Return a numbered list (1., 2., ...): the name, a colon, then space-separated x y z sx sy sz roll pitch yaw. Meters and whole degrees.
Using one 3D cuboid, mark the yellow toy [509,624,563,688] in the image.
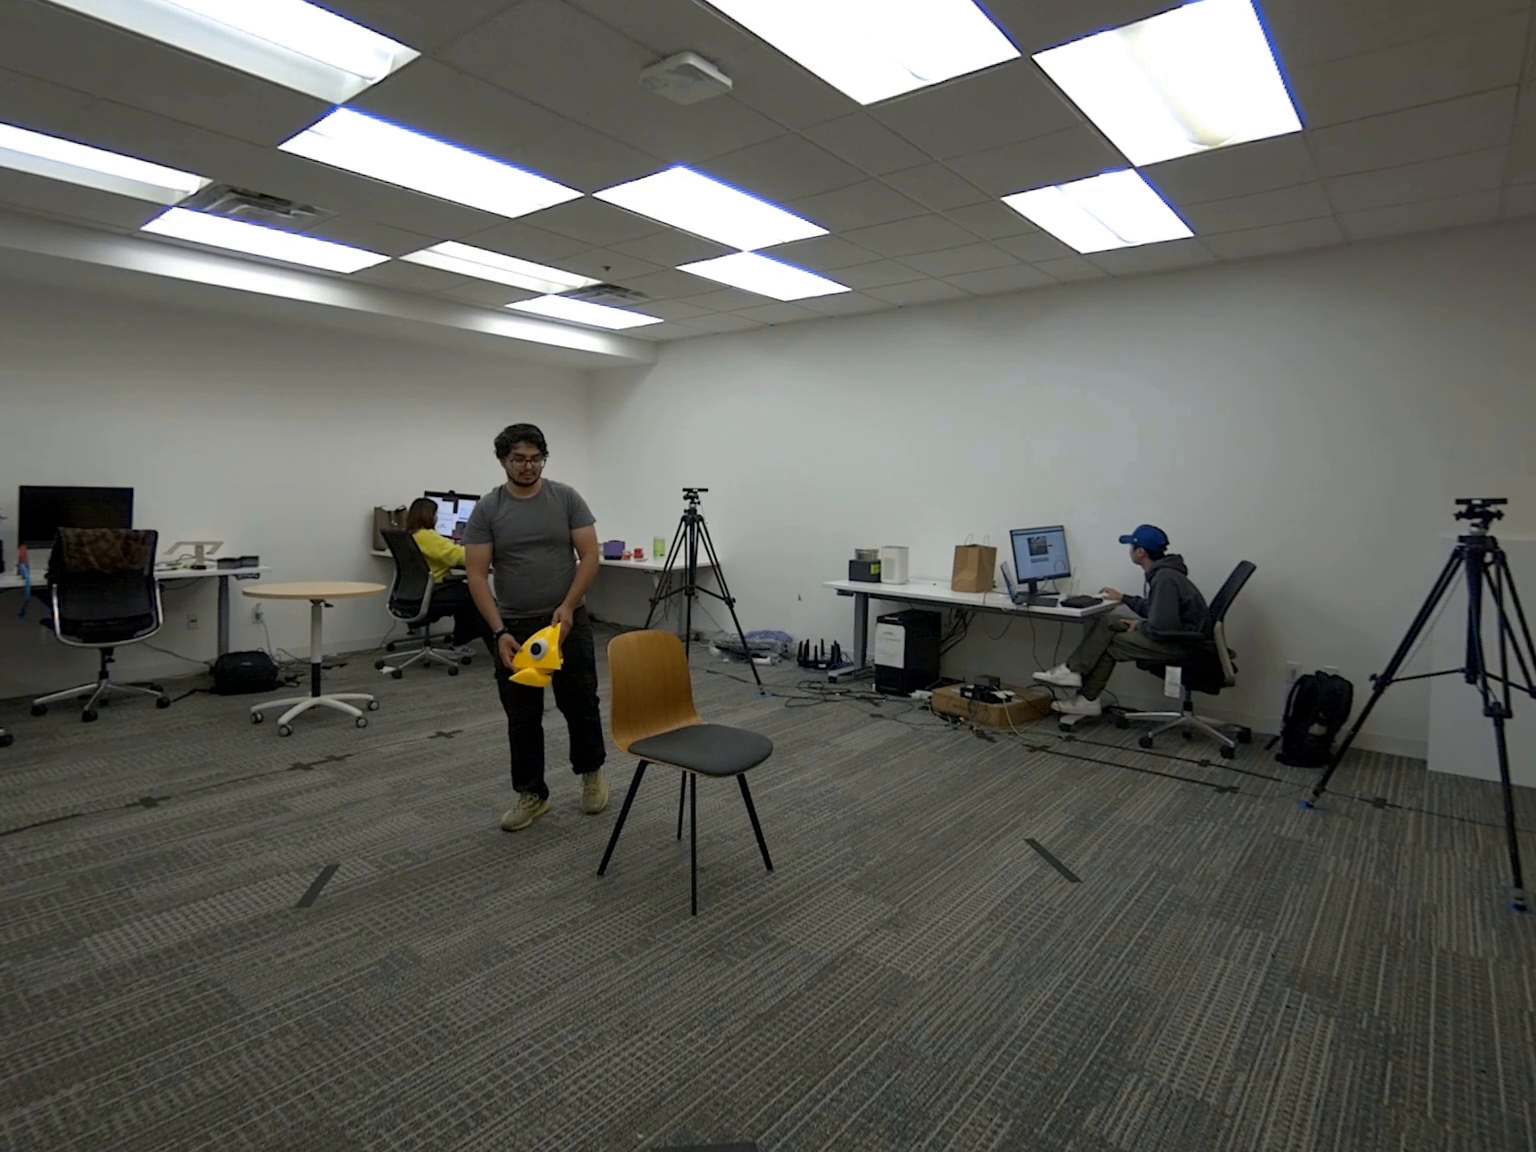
1. yellow toy: -0.902 0.282 3.281 0.190 0.230 0.209 12 5 -13
